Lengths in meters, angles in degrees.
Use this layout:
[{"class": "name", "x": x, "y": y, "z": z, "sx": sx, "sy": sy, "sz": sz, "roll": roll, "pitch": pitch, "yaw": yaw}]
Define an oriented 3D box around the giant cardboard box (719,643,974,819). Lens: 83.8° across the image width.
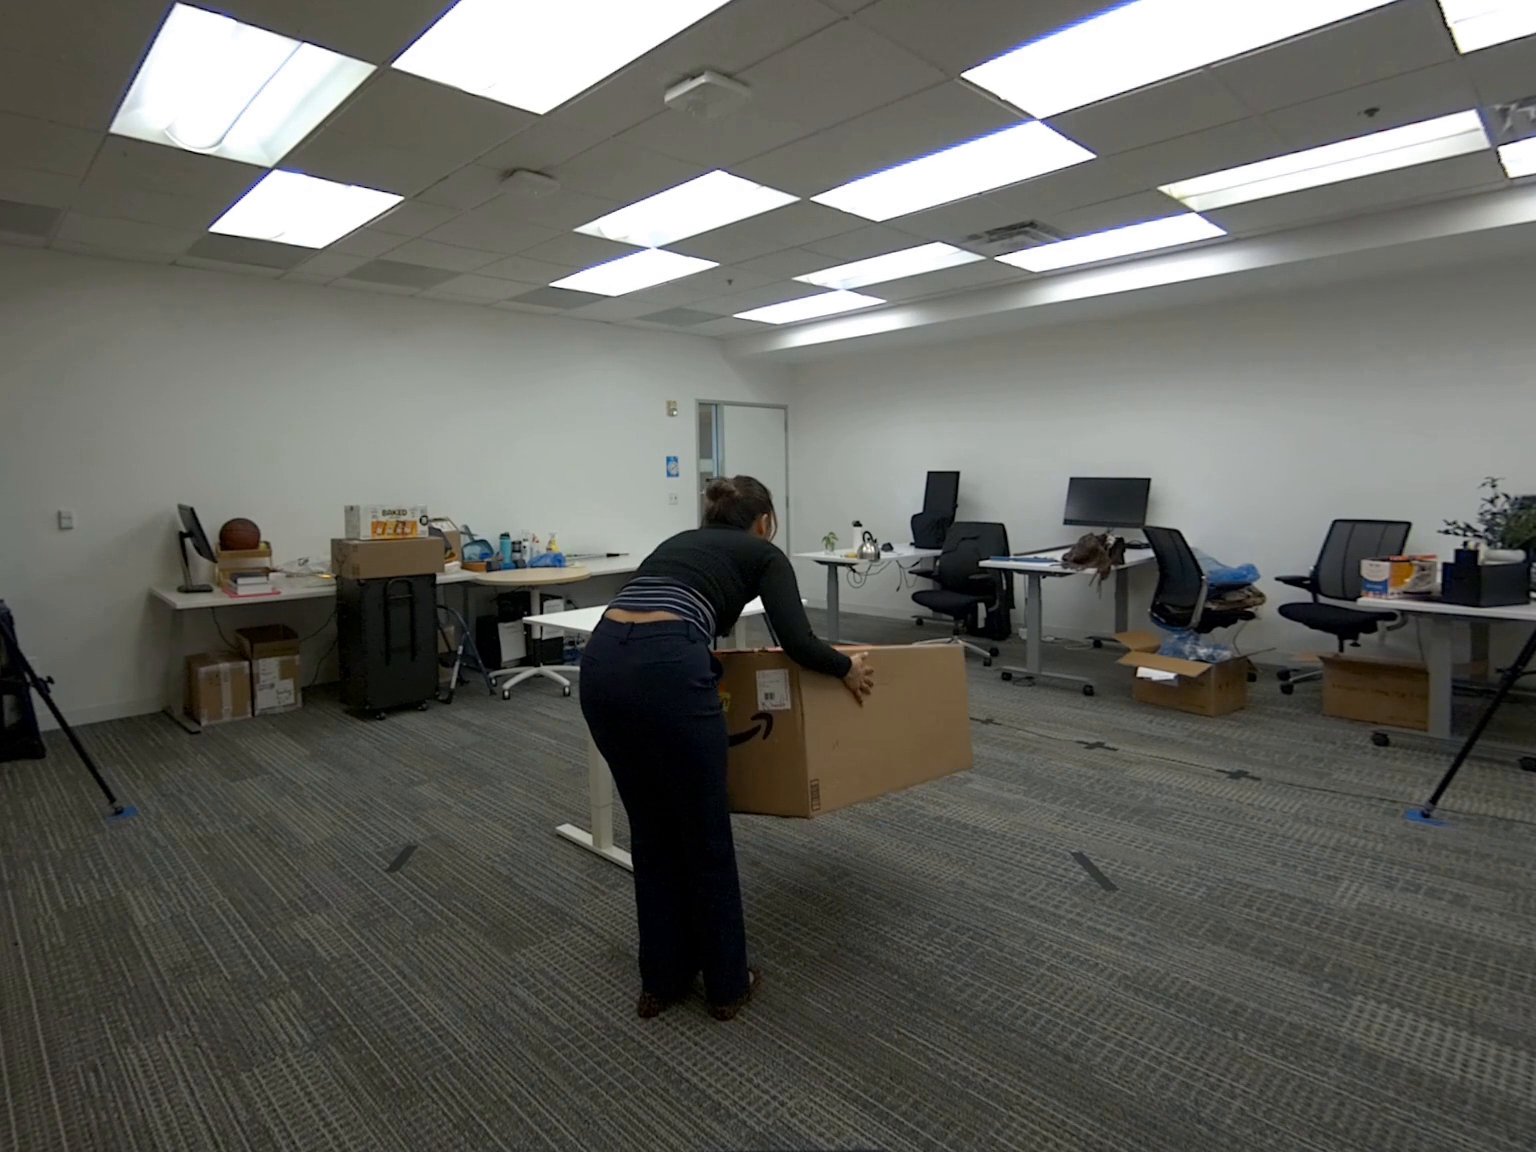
[{"class": "giant cardboard box", "x": 0.166, "y": 0.451, "z": 2.741, "sx": 0.591, "sy": 0.429, "sz": 0.994, "roll": -8, "pitch": -7, "yaw": 36}]
